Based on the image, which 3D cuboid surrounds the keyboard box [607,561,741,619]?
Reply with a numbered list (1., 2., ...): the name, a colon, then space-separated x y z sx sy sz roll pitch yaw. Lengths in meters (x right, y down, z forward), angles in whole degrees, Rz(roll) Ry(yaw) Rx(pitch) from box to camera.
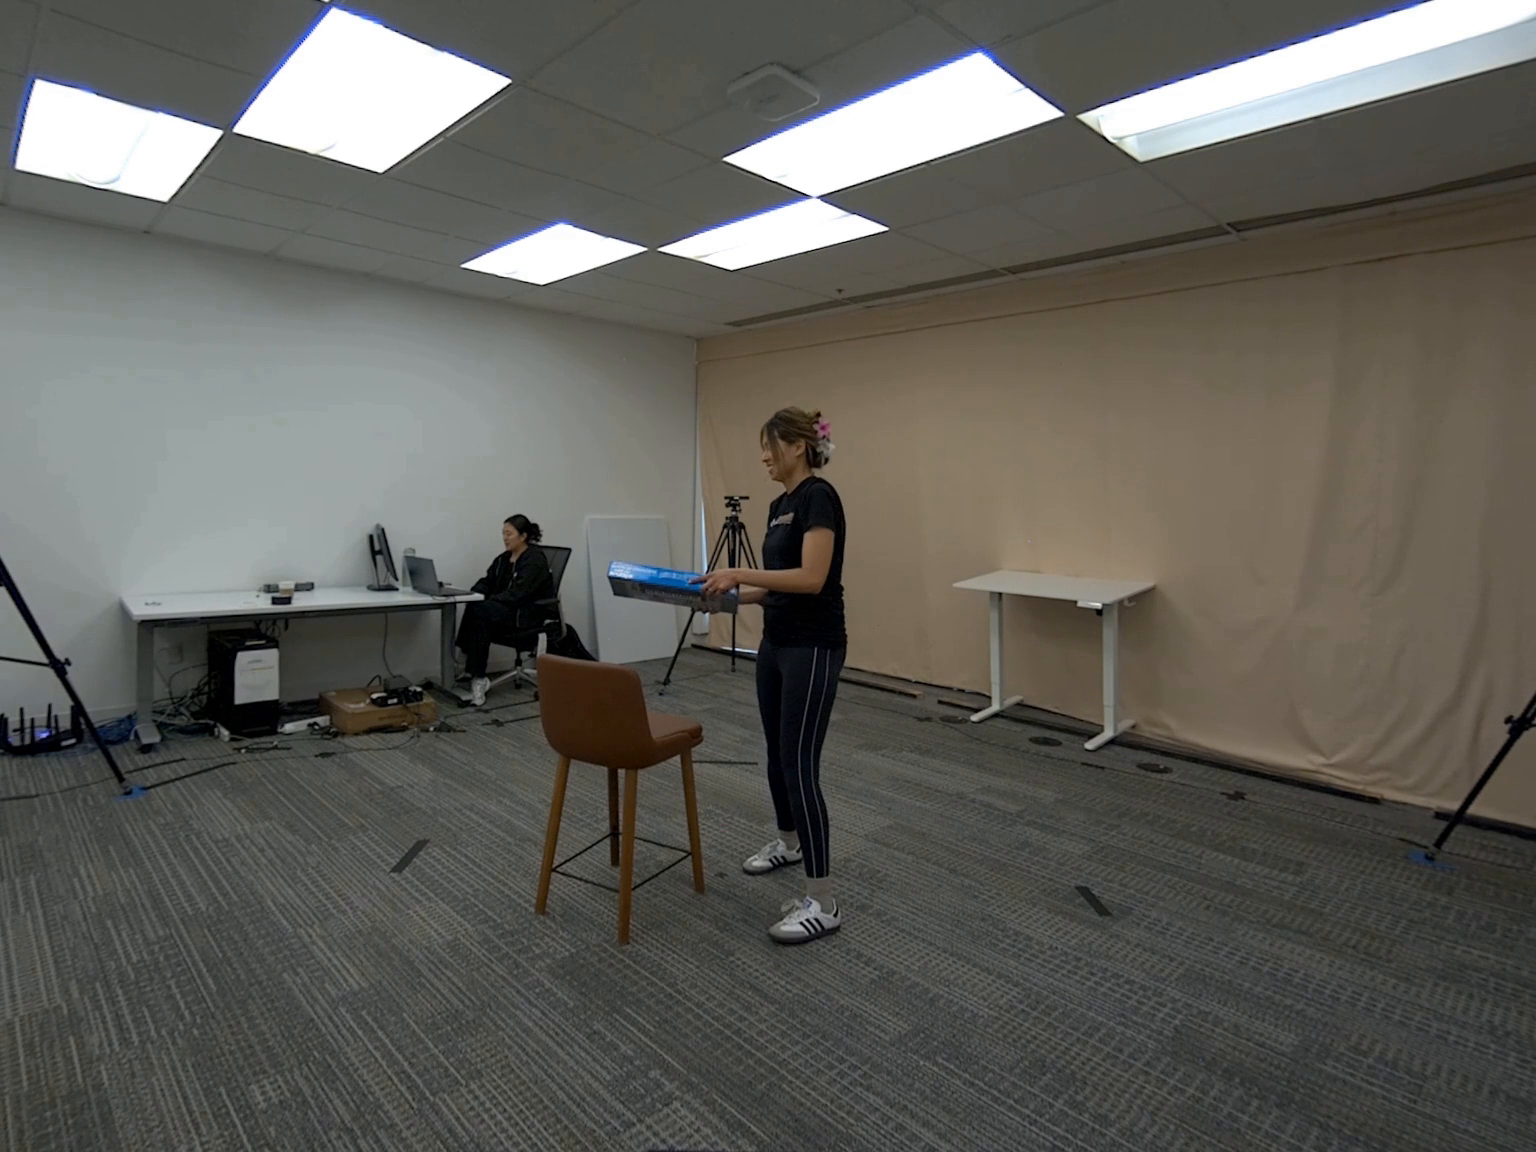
1. keyboard box: -0.312 0.047 2.853 0.438 0.060 0.173 9 -24 3
